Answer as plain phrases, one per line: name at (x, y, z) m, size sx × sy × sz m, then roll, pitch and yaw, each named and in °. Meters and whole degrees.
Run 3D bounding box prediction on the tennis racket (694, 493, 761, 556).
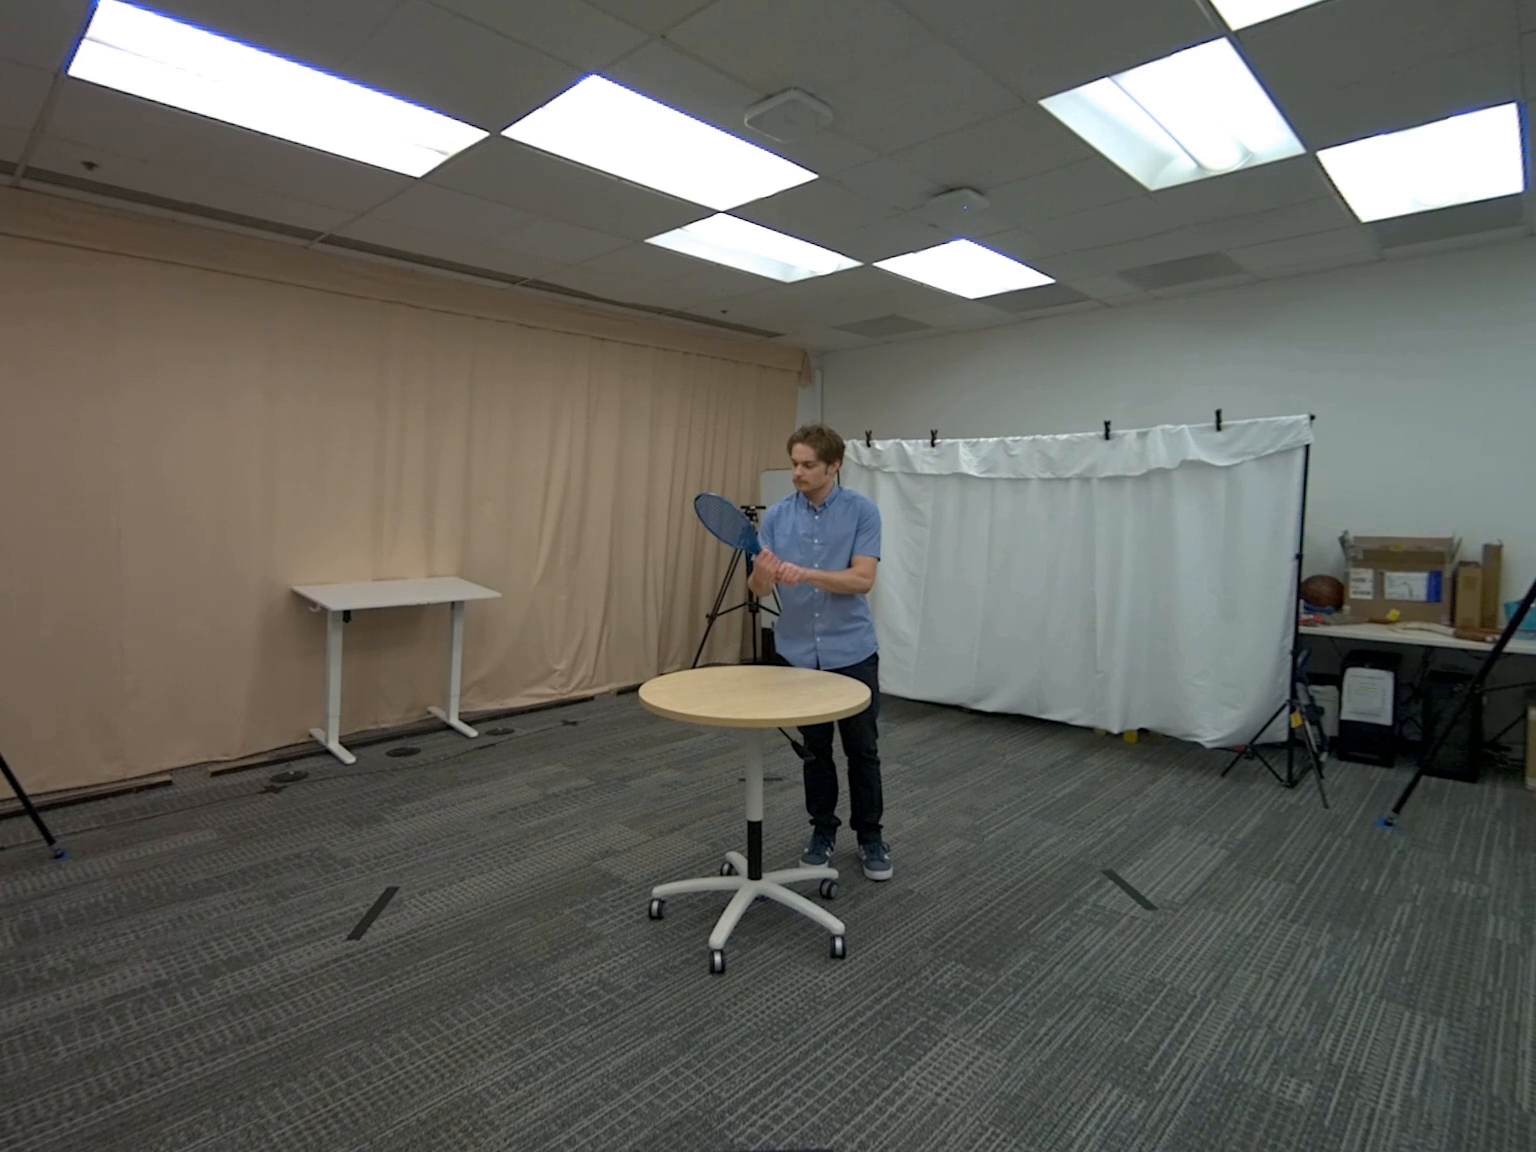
tennis racket at (-0.061, -0.129, 2.988) m, size 0.031 × 0.426 × 0.218 m, roll -47°, pitch 16°, yaw -32°
